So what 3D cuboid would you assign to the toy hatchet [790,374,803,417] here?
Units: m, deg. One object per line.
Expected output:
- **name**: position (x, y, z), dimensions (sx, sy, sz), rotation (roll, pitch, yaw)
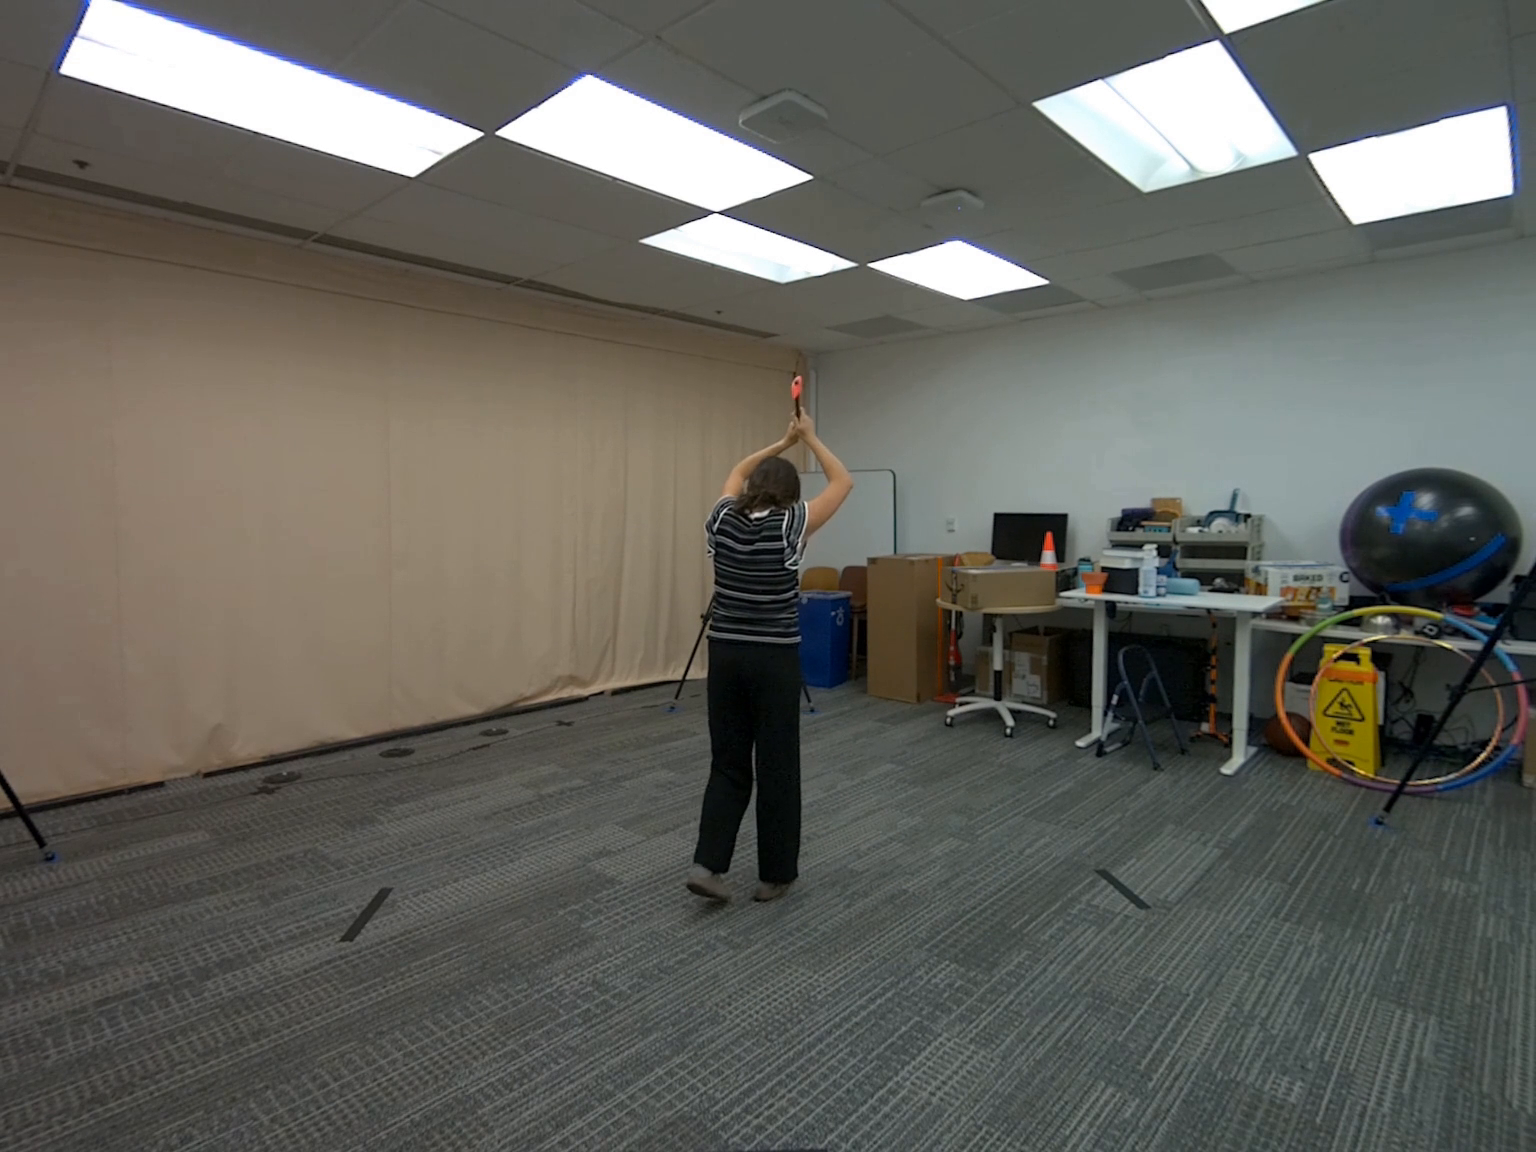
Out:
- **toy hatchet**: position (0.113, -0.640, 3.125), dimensions (0.030, 0.132, 0.265), rotation (5, -24, 7)
